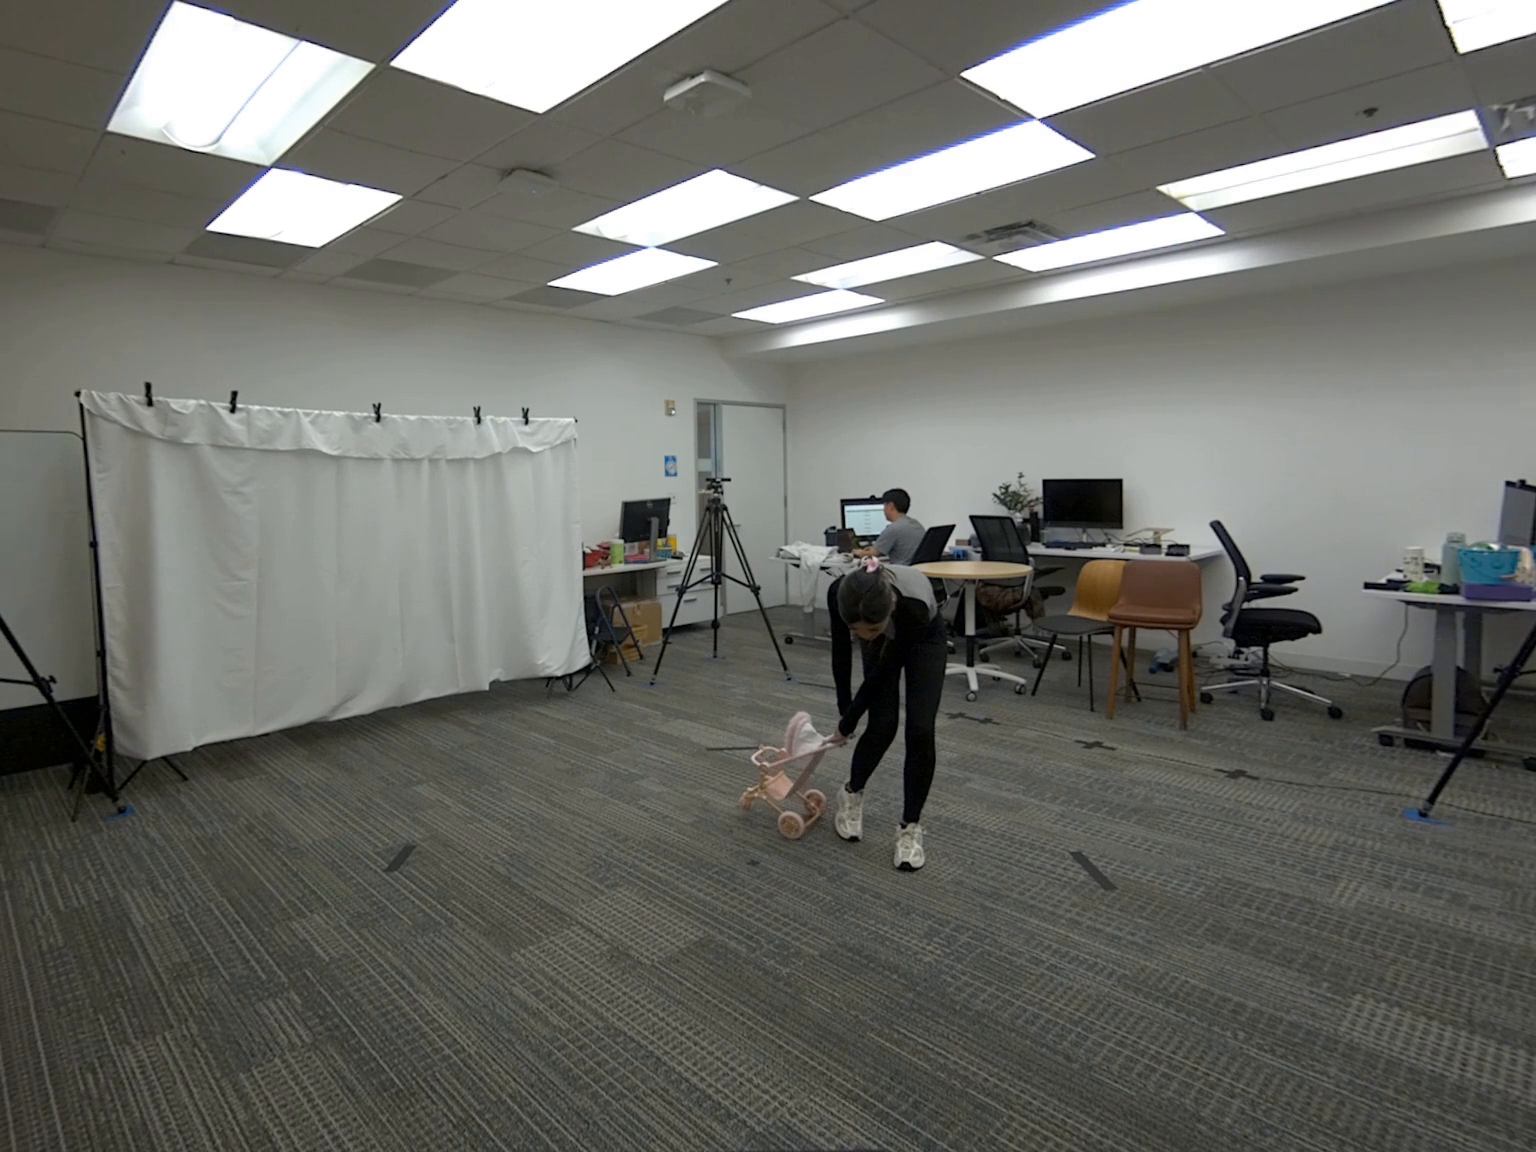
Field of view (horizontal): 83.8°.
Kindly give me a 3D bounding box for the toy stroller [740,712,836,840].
[{"bbox_3d":[0.102,0.776,3.427,0.352,0.530,0.275,25,16,27],"label":"toy stroller"}]
